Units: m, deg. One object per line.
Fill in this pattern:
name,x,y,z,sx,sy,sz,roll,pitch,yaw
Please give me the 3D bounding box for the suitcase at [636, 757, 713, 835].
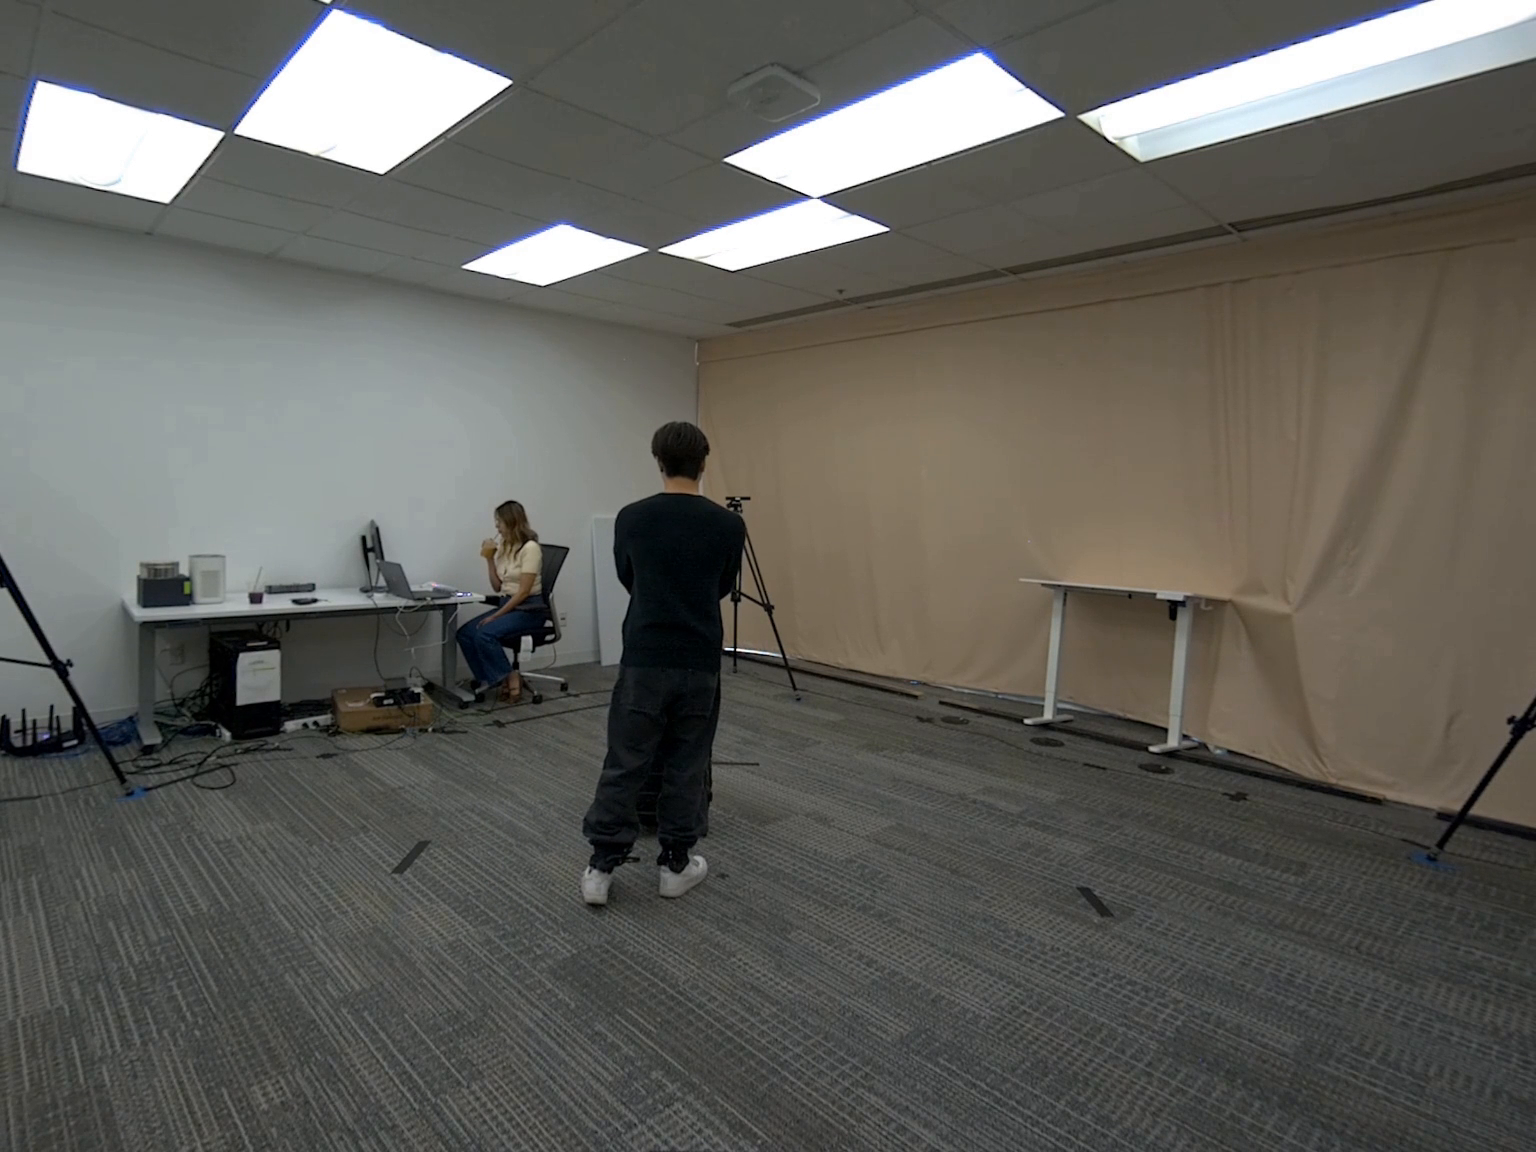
suitcase,-0.422,0.590,3.542,0.384,0.979,0.257,2,-1,-1
